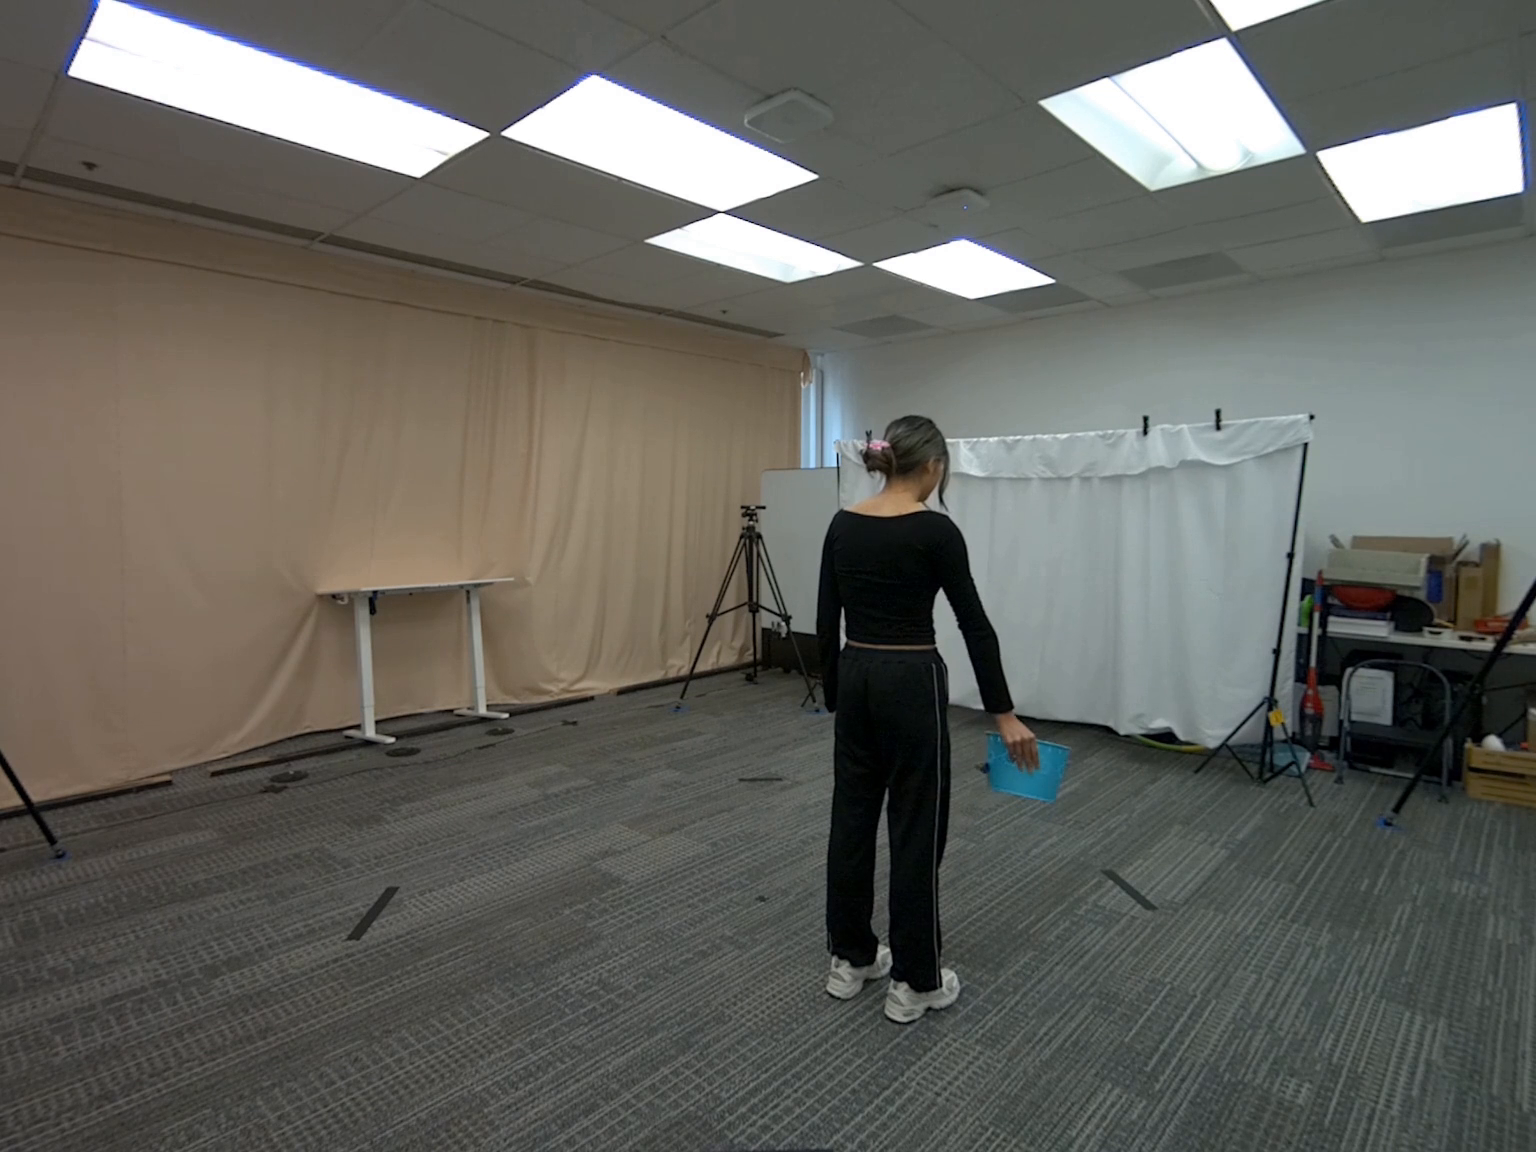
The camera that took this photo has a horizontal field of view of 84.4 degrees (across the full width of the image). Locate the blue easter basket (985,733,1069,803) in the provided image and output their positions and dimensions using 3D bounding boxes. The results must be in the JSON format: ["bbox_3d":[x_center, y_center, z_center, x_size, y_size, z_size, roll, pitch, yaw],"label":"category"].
[{"bbox_3d":[0.723,0.533,2.354,0.244,0.156,0.242,11,-8,0],"label":"blue easter basket"}]
